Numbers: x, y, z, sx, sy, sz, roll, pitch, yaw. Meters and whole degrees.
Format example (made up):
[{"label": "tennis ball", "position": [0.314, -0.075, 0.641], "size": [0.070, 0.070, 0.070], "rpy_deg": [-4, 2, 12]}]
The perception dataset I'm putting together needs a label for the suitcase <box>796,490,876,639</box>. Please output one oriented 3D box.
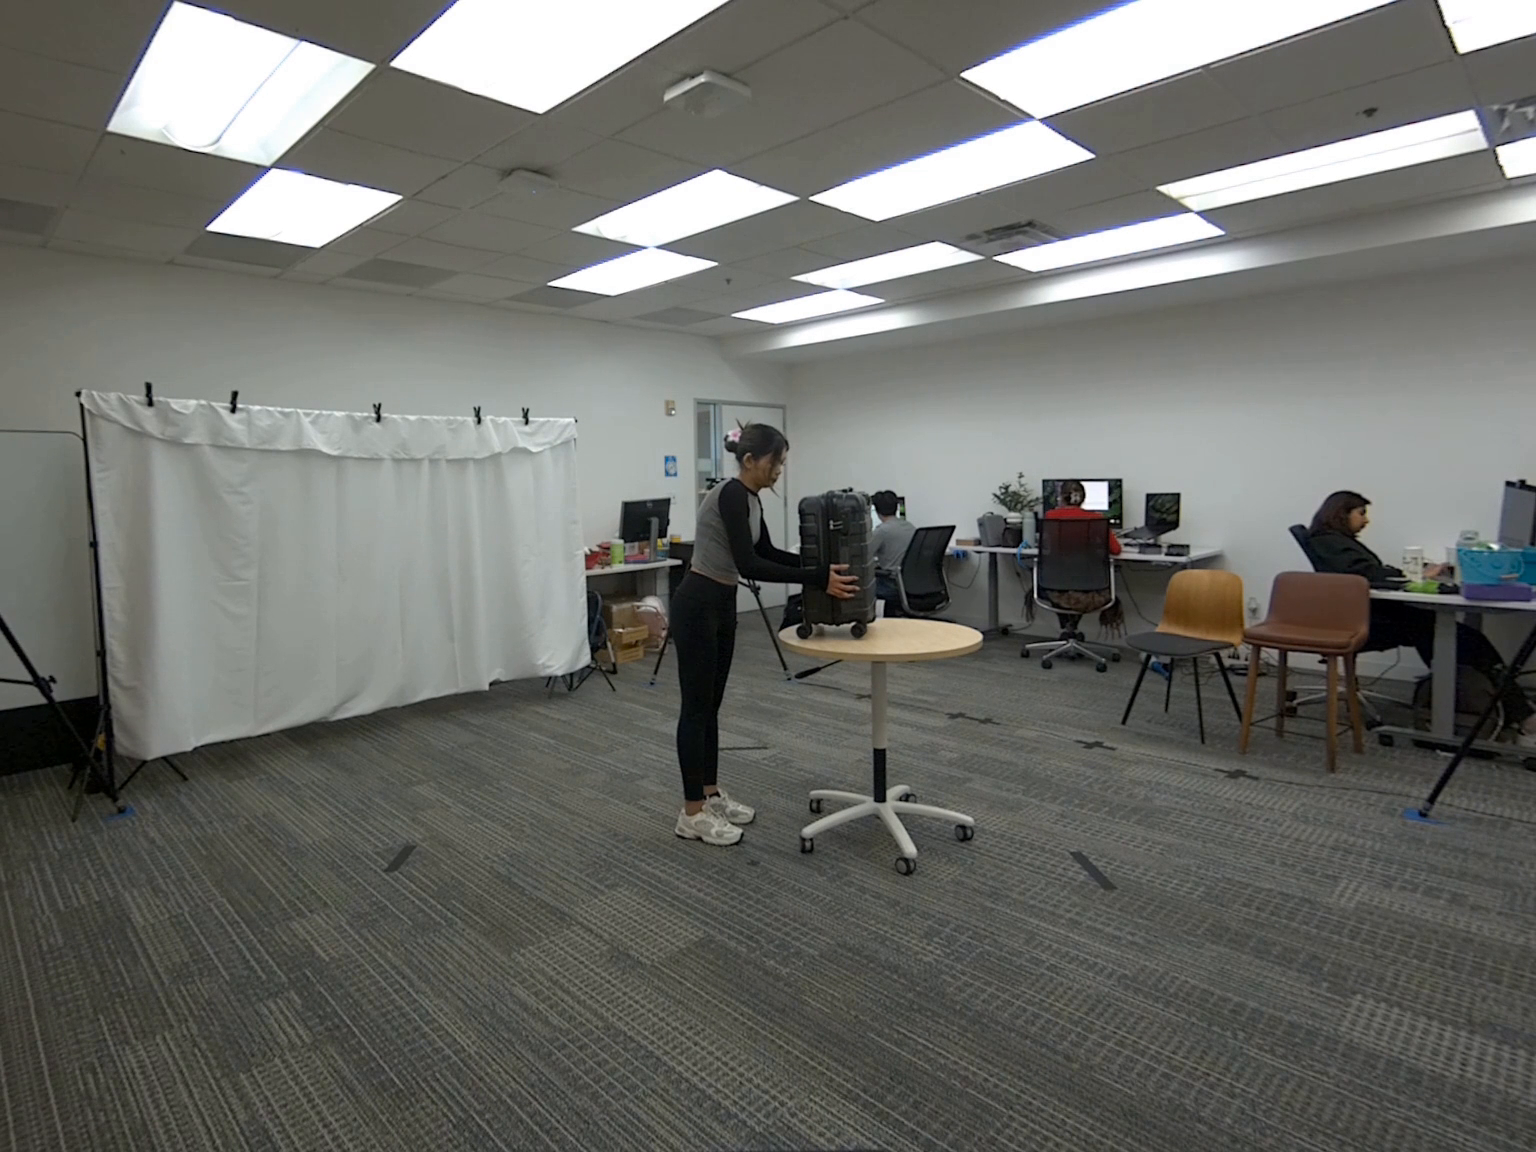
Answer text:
[{"label": "suitcase", "position": [0.264, -0.063, 3.299], "size": [0.251, 0.547, 0.372], "rpy_deg": [-2, 4, 12]}]
